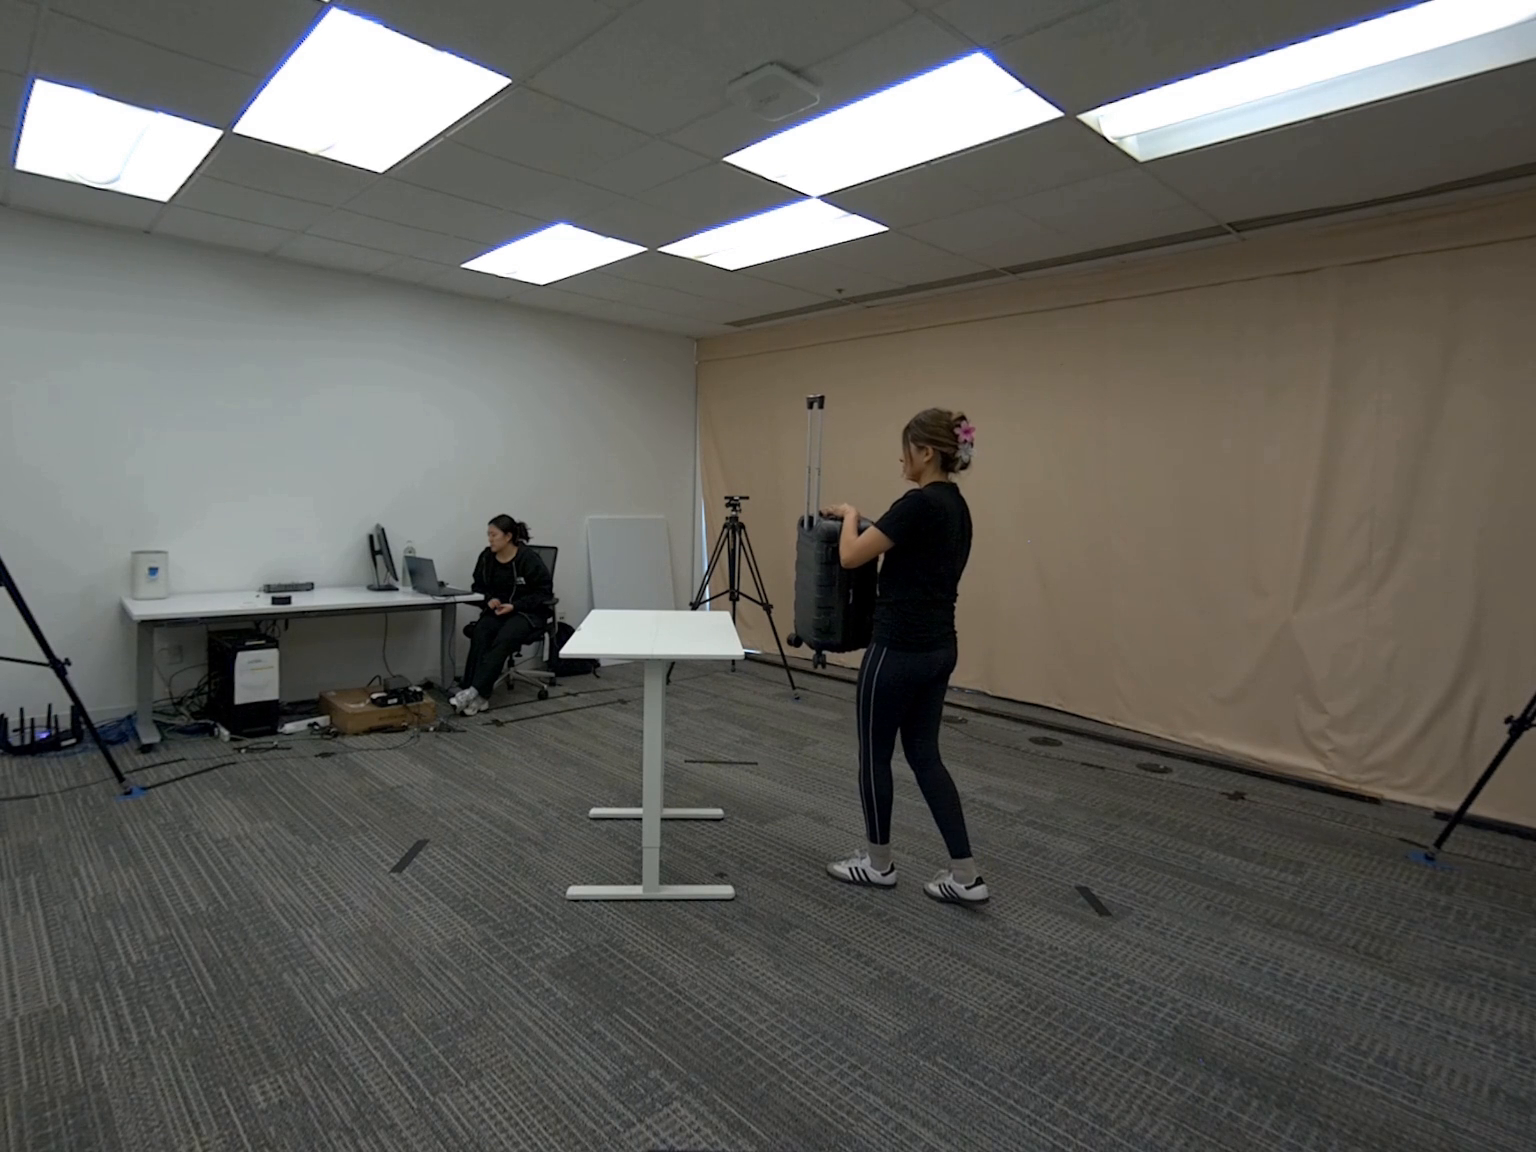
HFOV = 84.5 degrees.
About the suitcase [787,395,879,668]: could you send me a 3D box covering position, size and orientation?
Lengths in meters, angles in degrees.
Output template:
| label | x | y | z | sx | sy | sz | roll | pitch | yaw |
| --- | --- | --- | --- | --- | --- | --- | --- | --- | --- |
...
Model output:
| label | x | y | z | sx | sy | sz | roll | pitch | yaw |
| --- | --- | --- | --- | --- | --- | --- | --- | --- | --- |
| suitcase | 0.258 | -0.180 | 3.168 | 0.255 | 0.973 | 0.388 | 2 | 8 | -8 |
